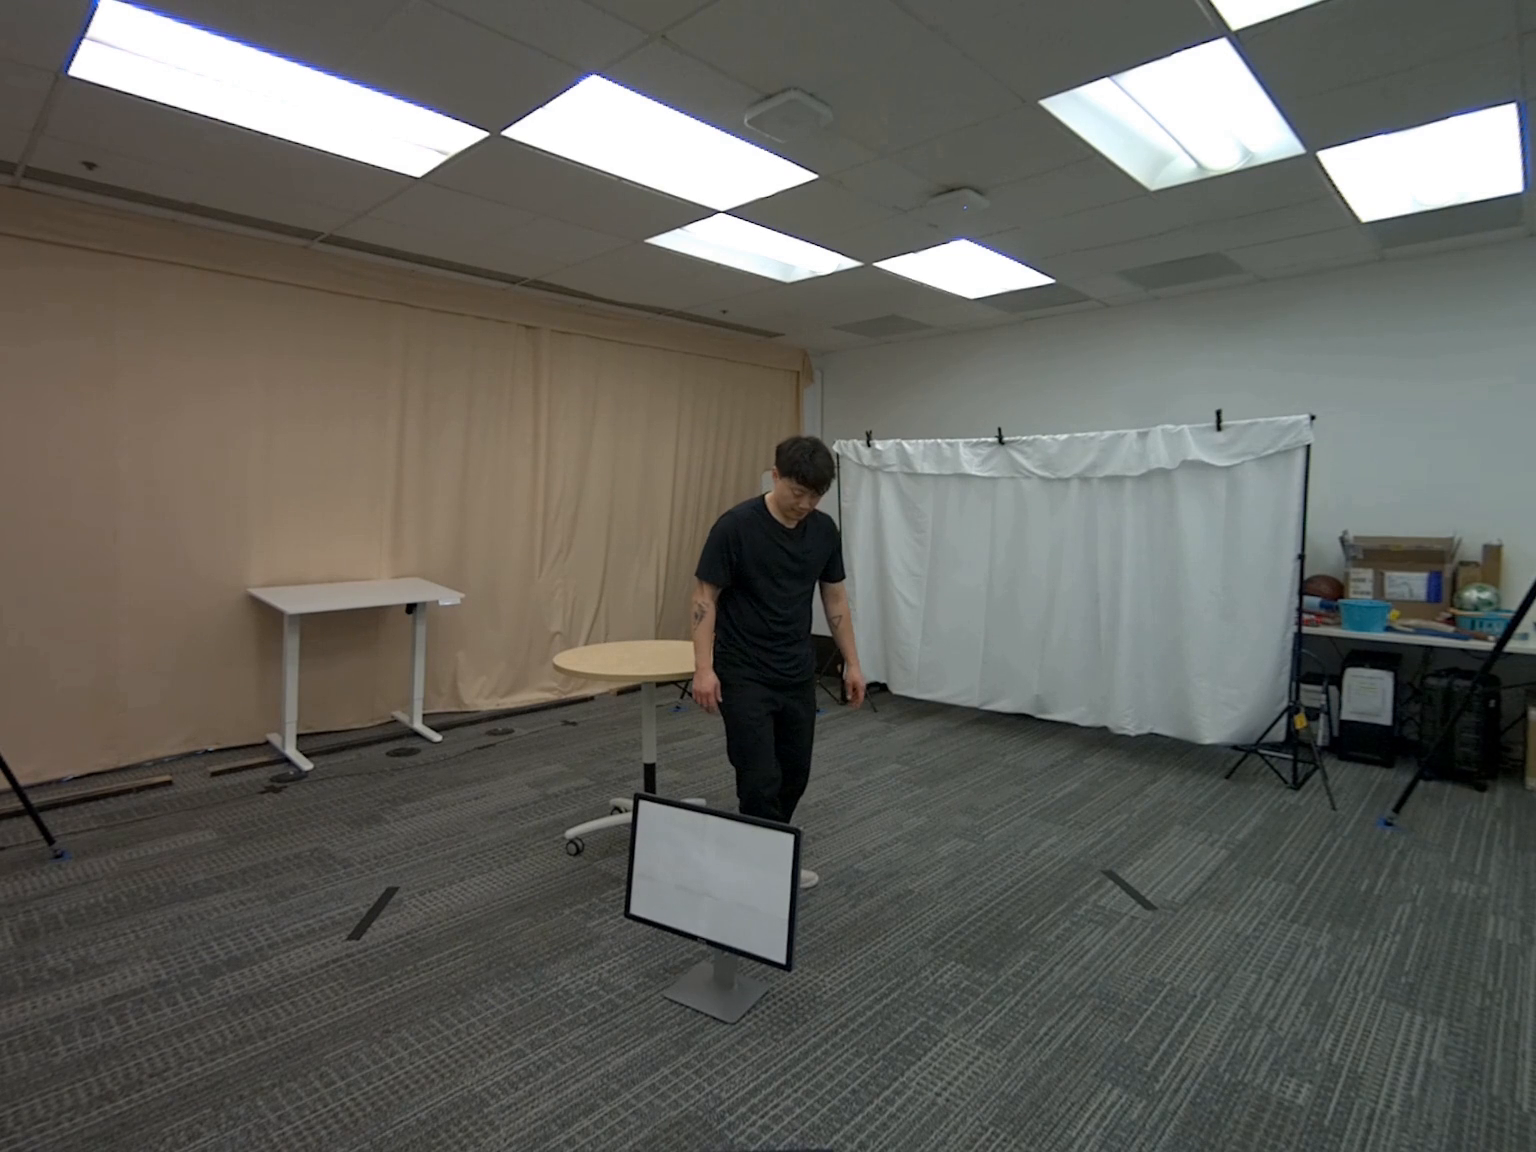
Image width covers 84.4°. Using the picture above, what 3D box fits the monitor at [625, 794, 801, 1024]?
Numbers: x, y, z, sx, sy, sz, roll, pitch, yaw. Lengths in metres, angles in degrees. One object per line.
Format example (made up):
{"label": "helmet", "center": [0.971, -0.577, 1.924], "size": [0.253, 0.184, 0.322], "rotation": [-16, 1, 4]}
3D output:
{"label": "monitor", "center": [-0.145, 0.931, 2.387], "size": [0.555, 0.521, 0.182], "rotation": [1, 4, 31]}
